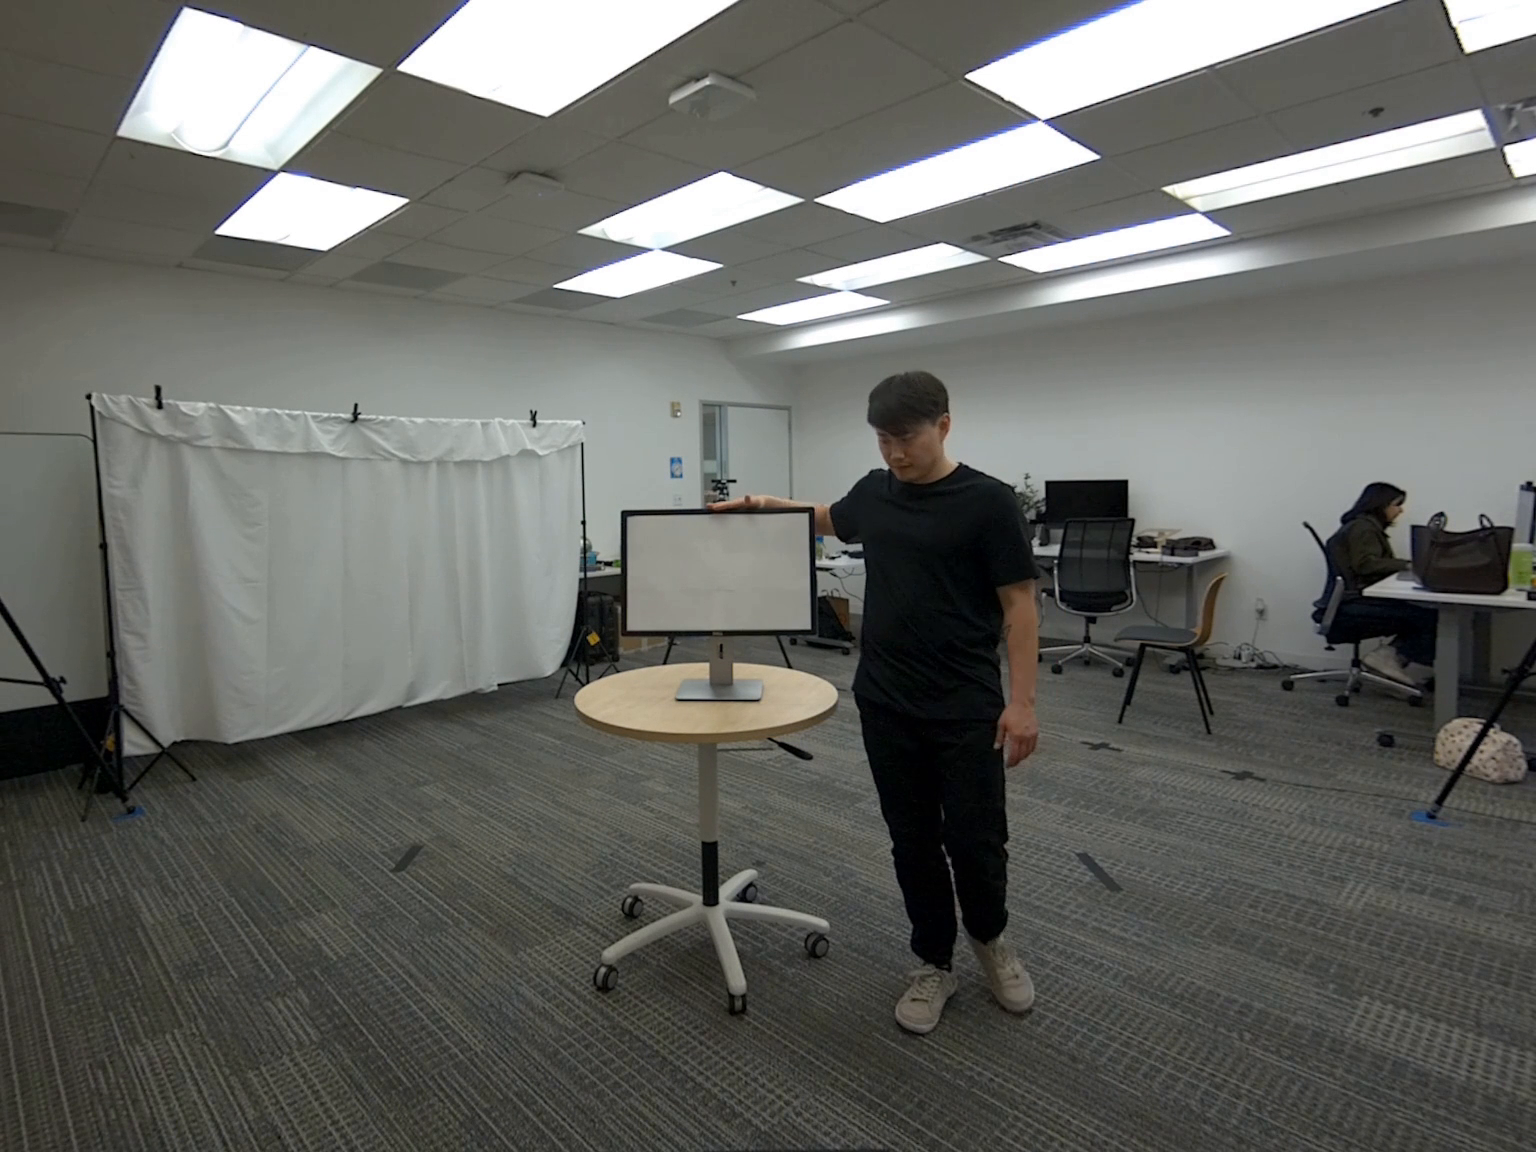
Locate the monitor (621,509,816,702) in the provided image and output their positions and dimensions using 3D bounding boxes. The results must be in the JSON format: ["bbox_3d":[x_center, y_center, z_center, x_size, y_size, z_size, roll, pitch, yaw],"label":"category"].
[{"bbox_3d":[-0.144,0.081,2.488,0.540,0.519,0.188,0,6,2],"label":"monitor"}]
